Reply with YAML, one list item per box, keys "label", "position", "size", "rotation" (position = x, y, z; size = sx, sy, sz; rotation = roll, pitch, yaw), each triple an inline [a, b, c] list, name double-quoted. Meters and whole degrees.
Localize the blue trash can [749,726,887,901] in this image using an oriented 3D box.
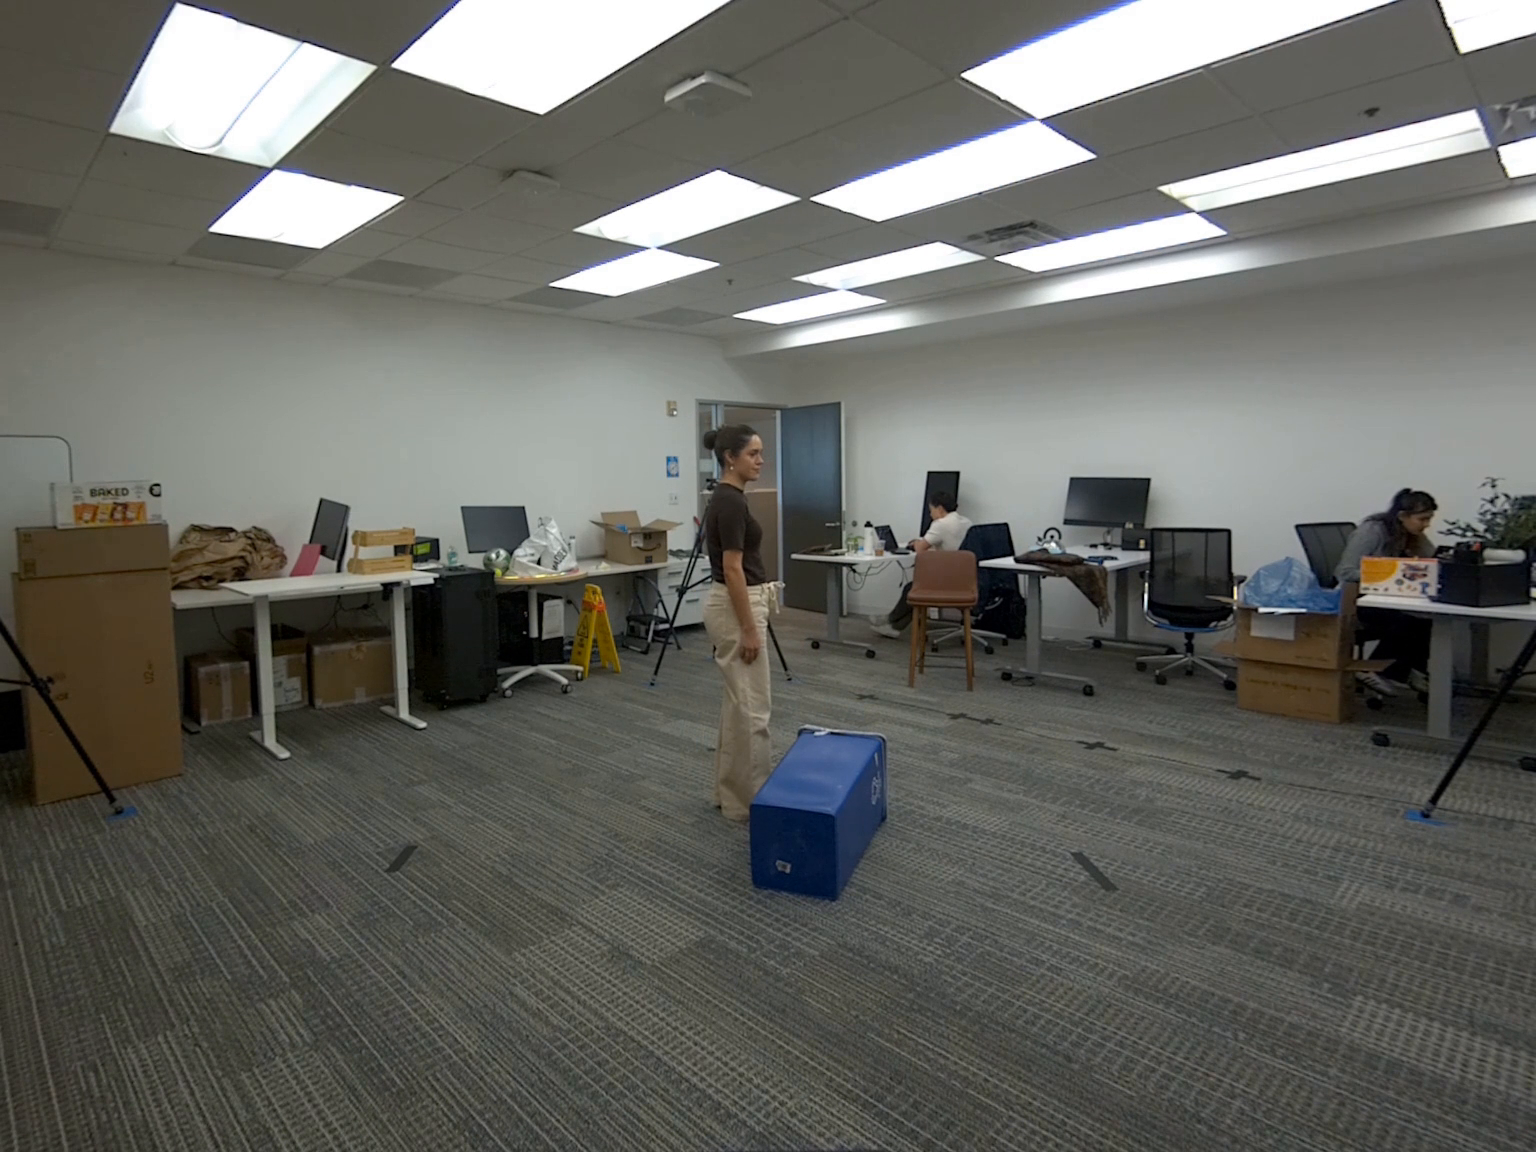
- label: "blue trash can"
  position: [0.191, 0.860, 3.178]
  size: [0.386, 0.371, 0.704]
  rotation: [1, 9, 21]
